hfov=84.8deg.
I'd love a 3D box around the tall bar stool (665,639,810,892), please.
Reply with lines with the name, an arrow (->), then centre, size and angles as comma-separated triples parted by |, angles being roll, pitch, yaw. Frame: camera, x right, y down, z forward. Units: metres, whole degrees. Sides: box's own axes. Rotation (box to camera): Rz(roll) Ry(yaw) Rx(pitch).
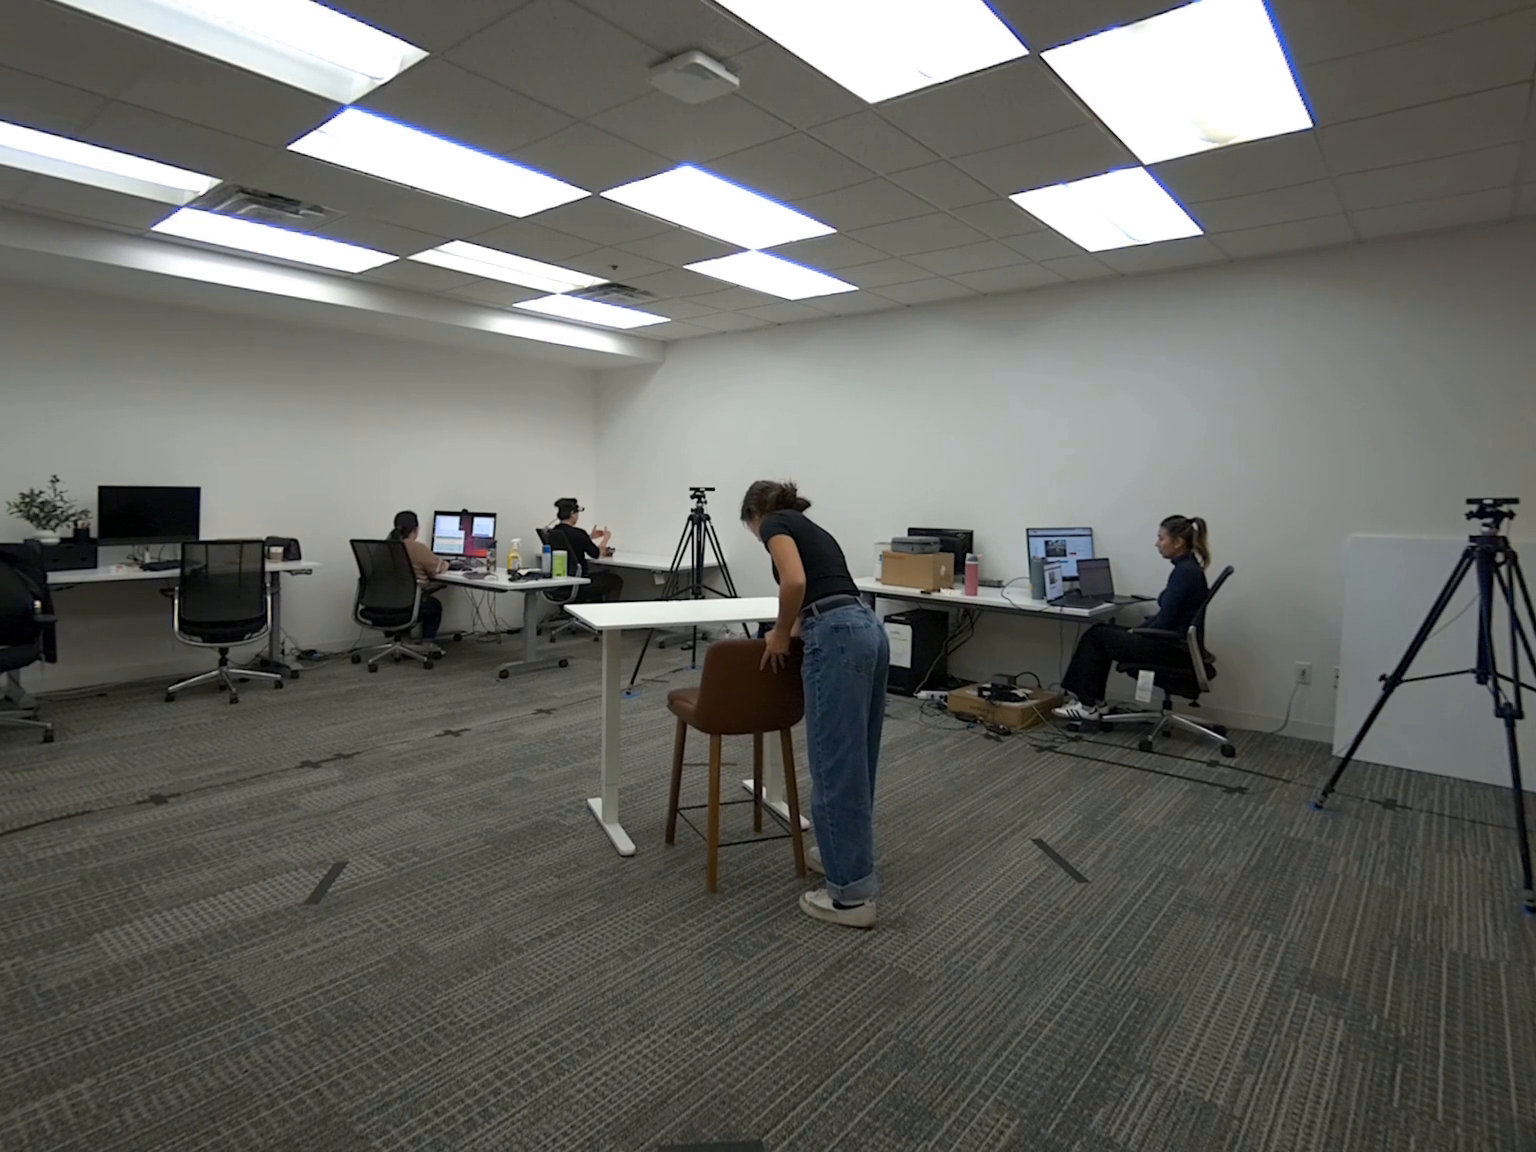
tall bar stool -> -0.127, 0.629, 3.167 | 0.447, 0.885, 0.480 | 0, 6, -22
